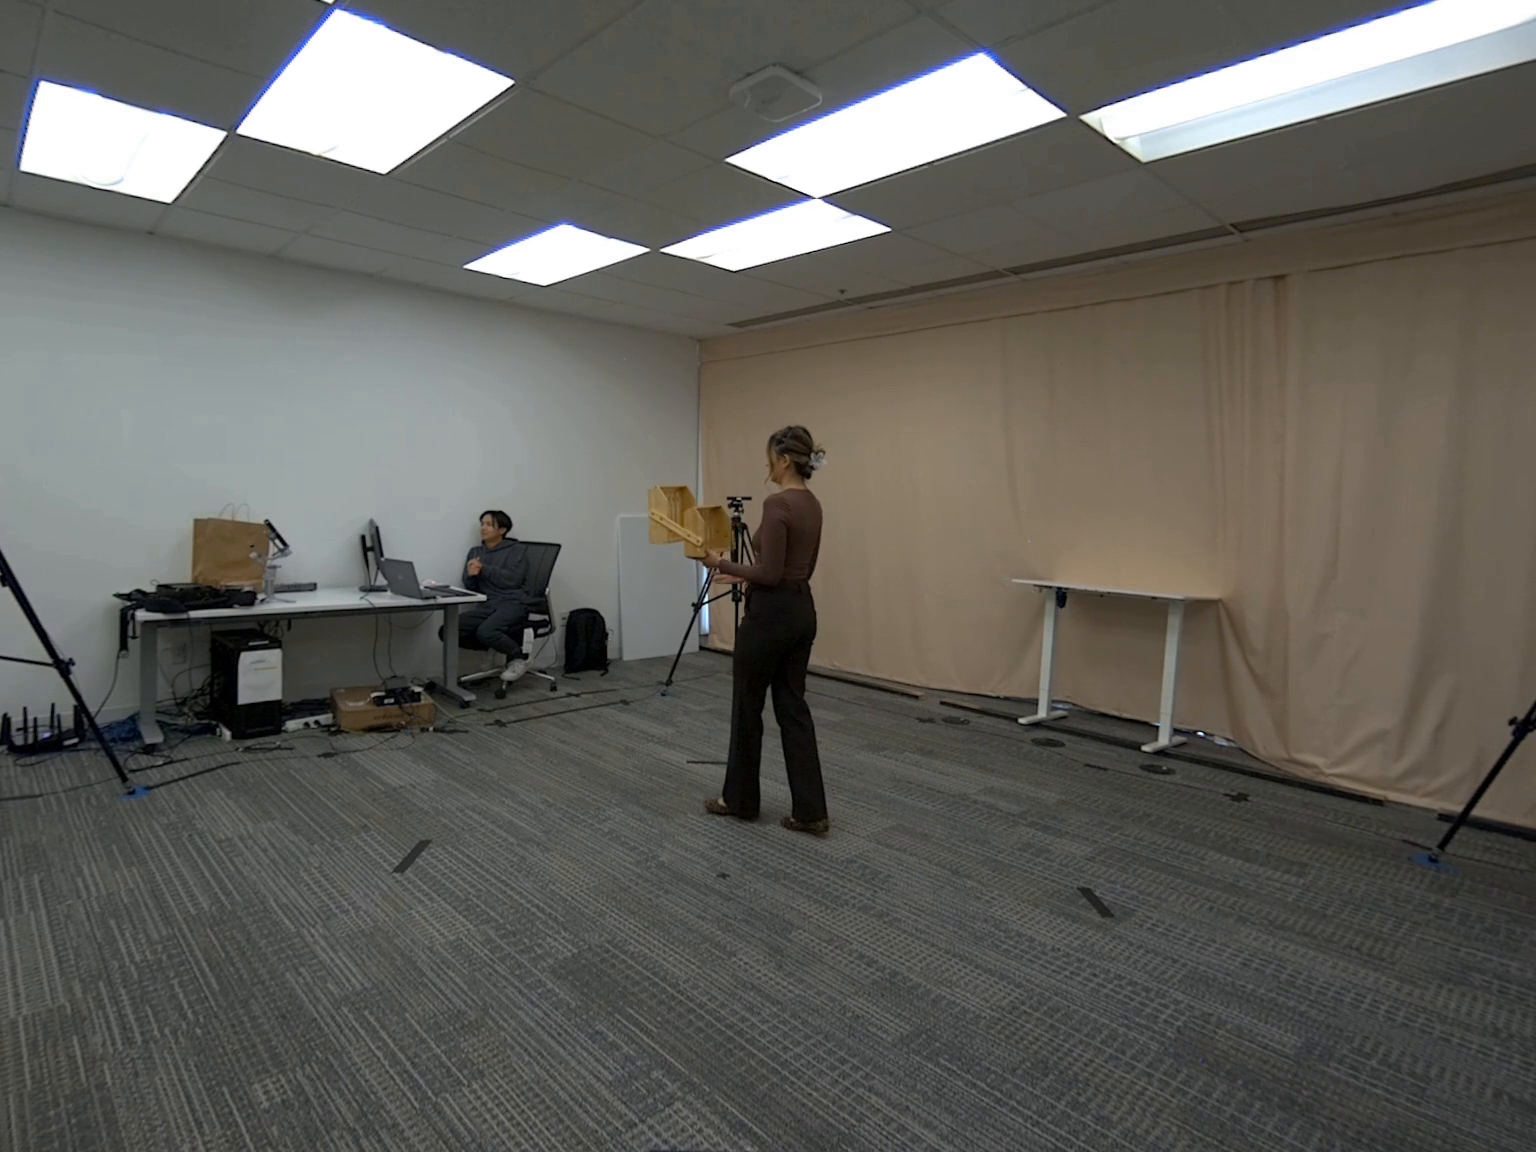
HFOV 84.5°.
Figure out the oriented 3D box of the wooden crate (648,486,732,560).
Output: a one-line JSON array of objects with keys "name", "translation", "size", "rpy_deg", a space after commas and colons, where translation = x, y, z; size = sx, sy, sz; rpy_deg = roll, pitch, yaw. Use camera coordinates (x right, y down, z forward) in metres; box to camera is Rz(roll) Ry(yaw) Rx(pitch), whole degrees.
[{"name": "wooden crate", "translation": [-0.338, -0.252, 3.695], "size": [0.278, 0.301, 0.321], "rpy_deg": [1, 6, 20]}]
